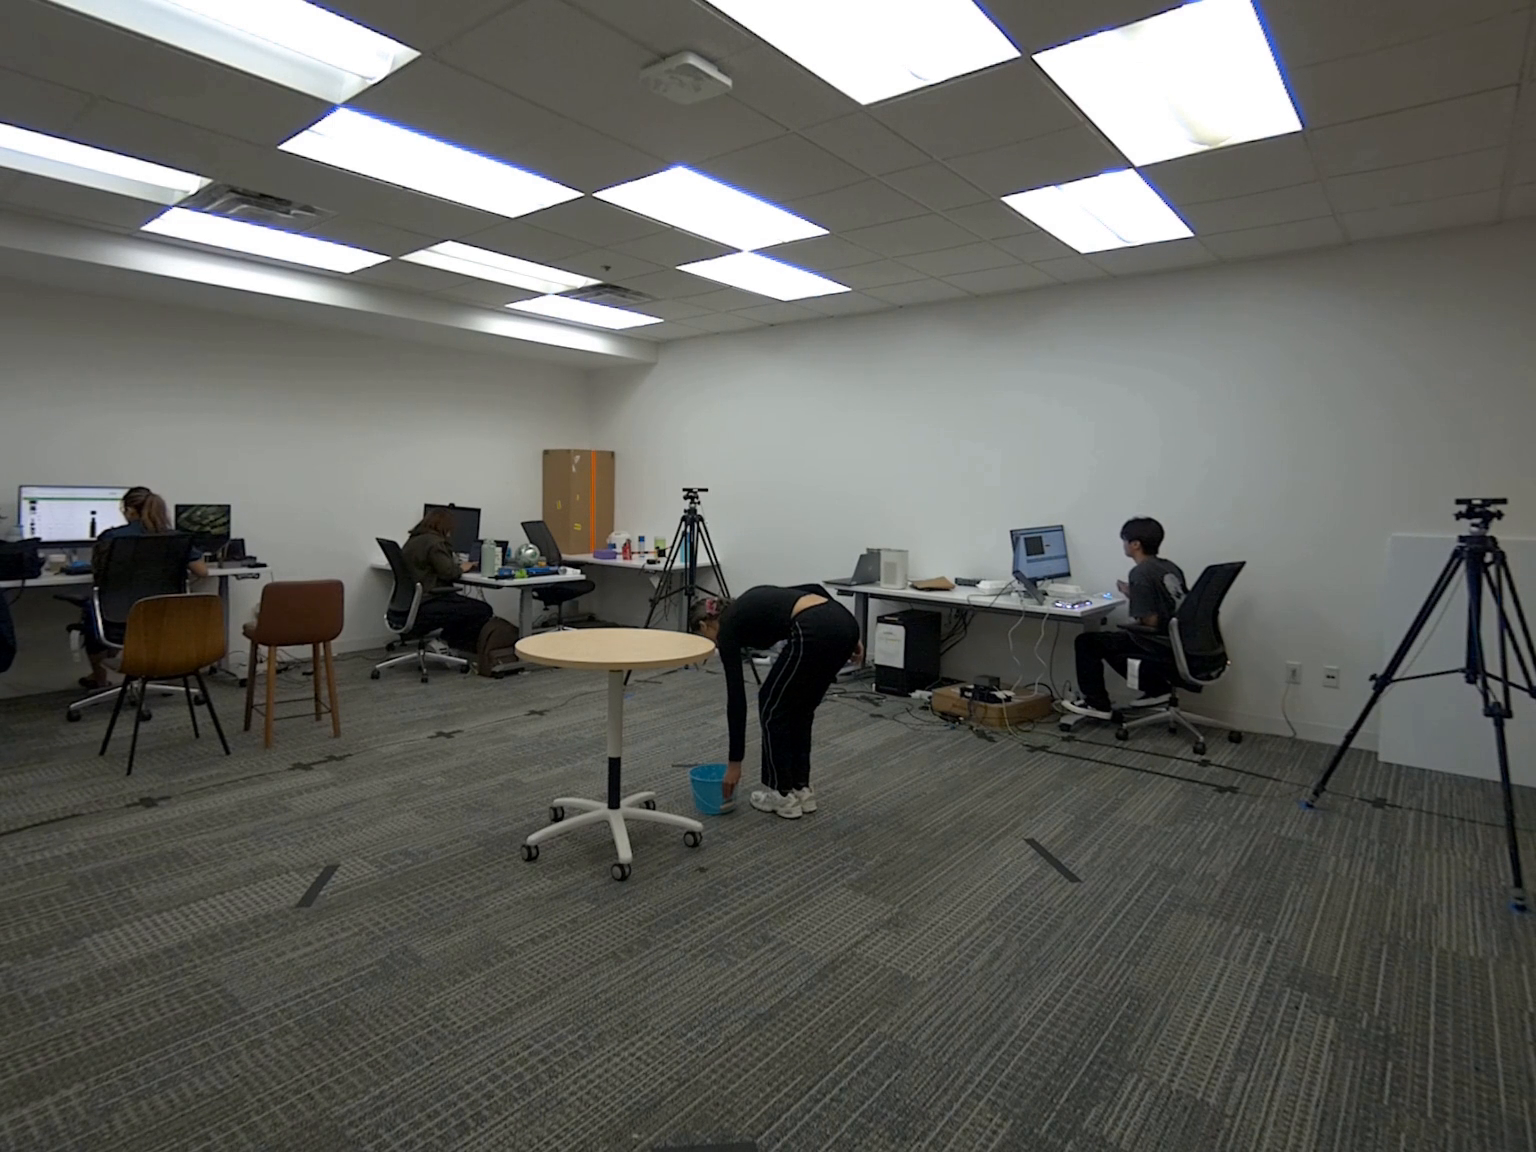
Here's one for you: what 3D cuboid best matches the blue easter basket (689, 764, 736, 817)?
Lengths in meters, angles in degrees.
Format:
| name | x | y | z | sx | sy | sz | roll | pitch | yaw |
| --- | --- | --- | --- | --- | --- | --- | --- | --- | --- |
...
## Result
| name | x | y | z | sx | sy | sz | roll | pitch | yaw |
| --- | --- | --- | --- | --- | --- | --- | --- | --- | --- |
| blue easter basket | -0.244 | 0.929 | 3.728 | 0.243 | 0.155 | 0.245 | -2 | 4 | -2 |
